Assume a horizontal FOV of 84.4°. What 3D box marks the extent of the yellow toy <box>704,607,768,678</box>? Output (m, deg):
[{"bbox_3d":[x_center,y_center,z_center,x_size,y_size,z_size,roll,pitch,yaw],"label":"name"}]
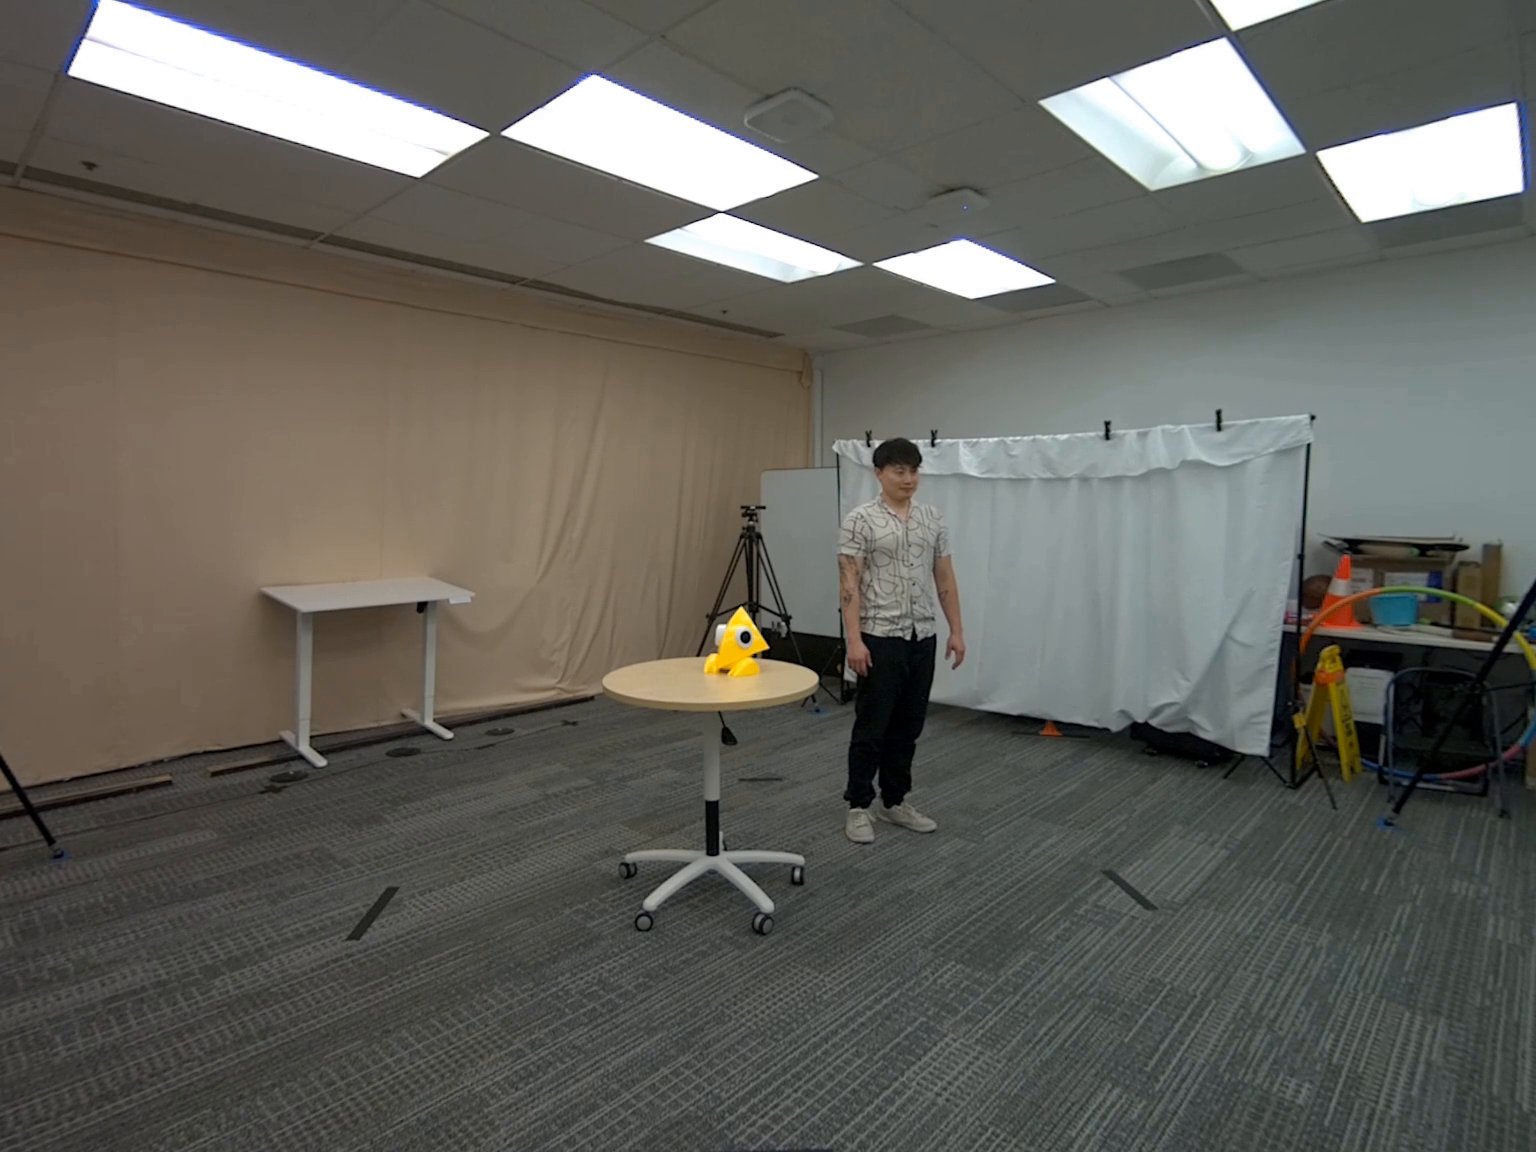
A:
[{"bbox_3d":[-0.127,0.235,3.096,0.211,0.230,0.188,2,5,33],"label":"yellow toy"}]
